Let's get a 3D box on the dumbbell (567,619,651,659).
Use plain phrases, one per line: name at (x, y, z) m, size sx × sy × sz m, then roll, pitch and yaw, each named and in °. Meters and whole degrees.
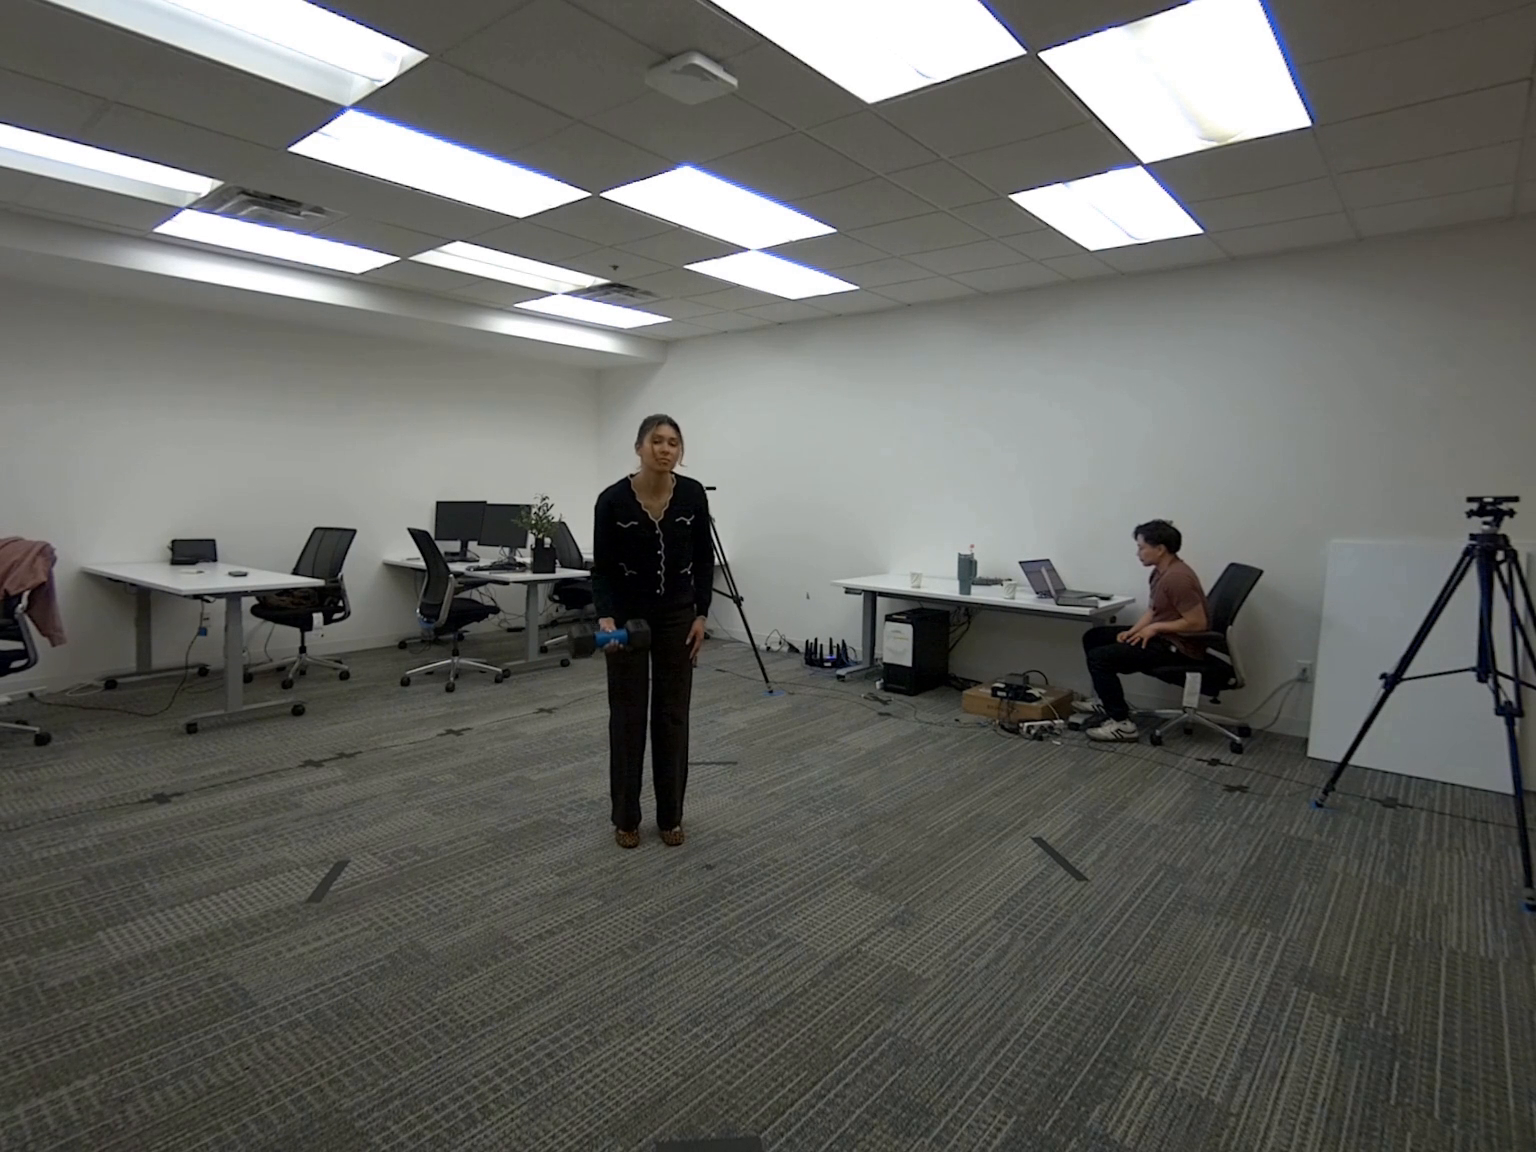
dumbbell at (-0.597, 0.227, 3.090) m, size 0.286 × 0.122 × 0.112 m, roll -5°, pitch 7°, yaw -28°
